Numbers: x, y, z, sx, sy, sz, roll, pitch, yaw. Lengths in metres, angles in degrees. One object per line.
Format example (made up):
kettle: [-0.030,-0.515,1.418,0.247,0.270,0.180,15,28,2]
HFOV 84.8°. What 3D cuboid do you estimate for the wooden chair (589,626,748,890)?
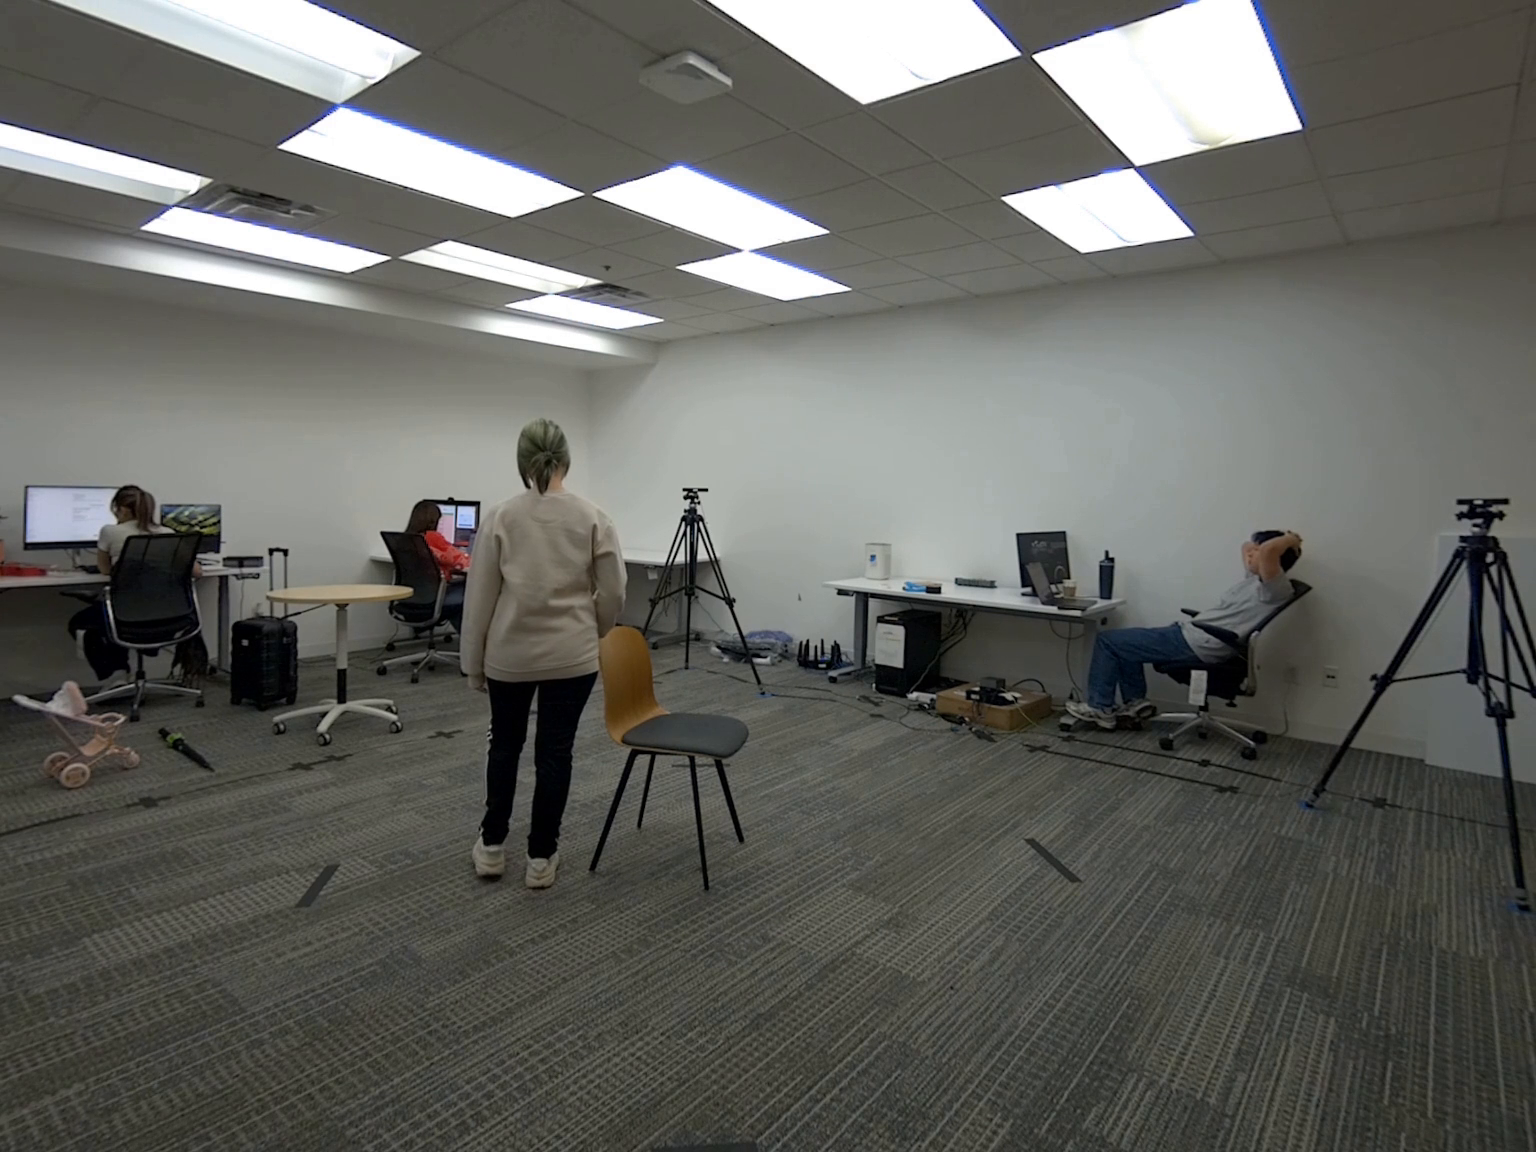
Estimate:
wooden chair: [-0.361,0.633,3.190,0.532,0.876,0.470,-2,2,17]
